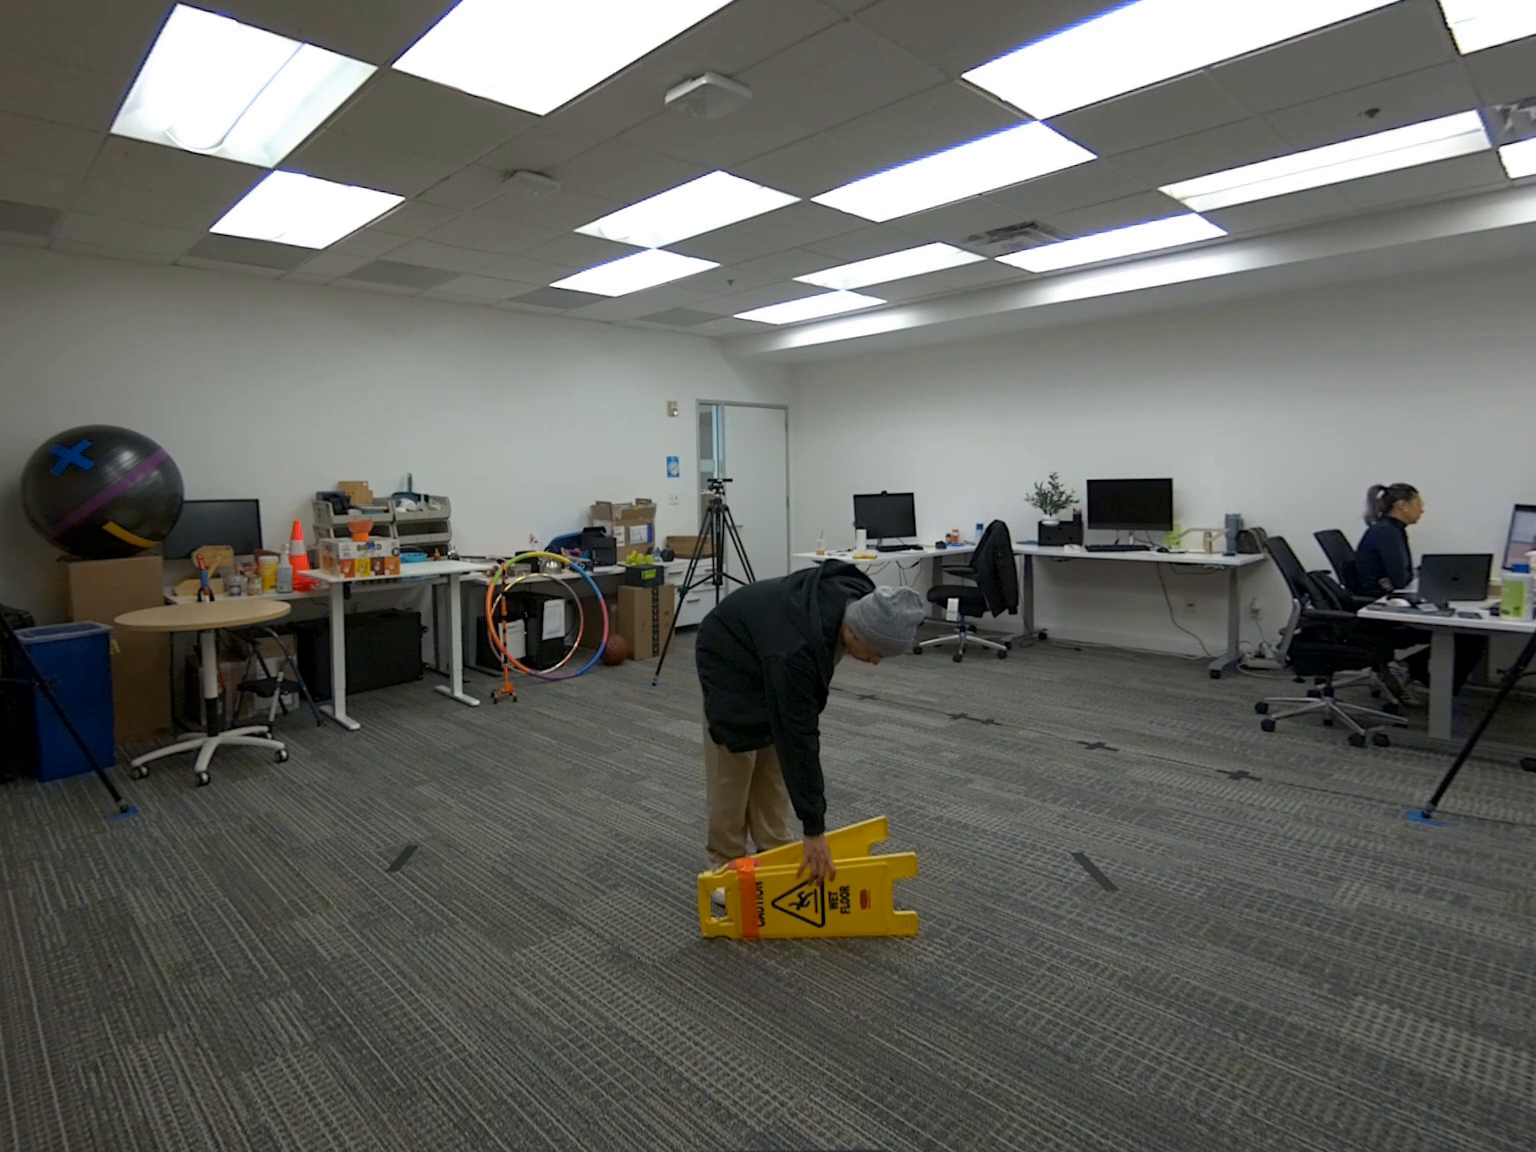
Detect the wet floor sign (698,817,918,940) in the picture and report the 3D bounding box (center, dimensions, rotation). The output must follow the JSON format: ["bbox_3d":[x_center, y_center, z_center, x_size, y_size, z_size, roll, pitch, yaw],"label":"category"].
[{"bbox_3d":[0.111,0.970,2.636,0.641,0.280,0.295,-5,10,-9],"label":"wet floor sign"}]
